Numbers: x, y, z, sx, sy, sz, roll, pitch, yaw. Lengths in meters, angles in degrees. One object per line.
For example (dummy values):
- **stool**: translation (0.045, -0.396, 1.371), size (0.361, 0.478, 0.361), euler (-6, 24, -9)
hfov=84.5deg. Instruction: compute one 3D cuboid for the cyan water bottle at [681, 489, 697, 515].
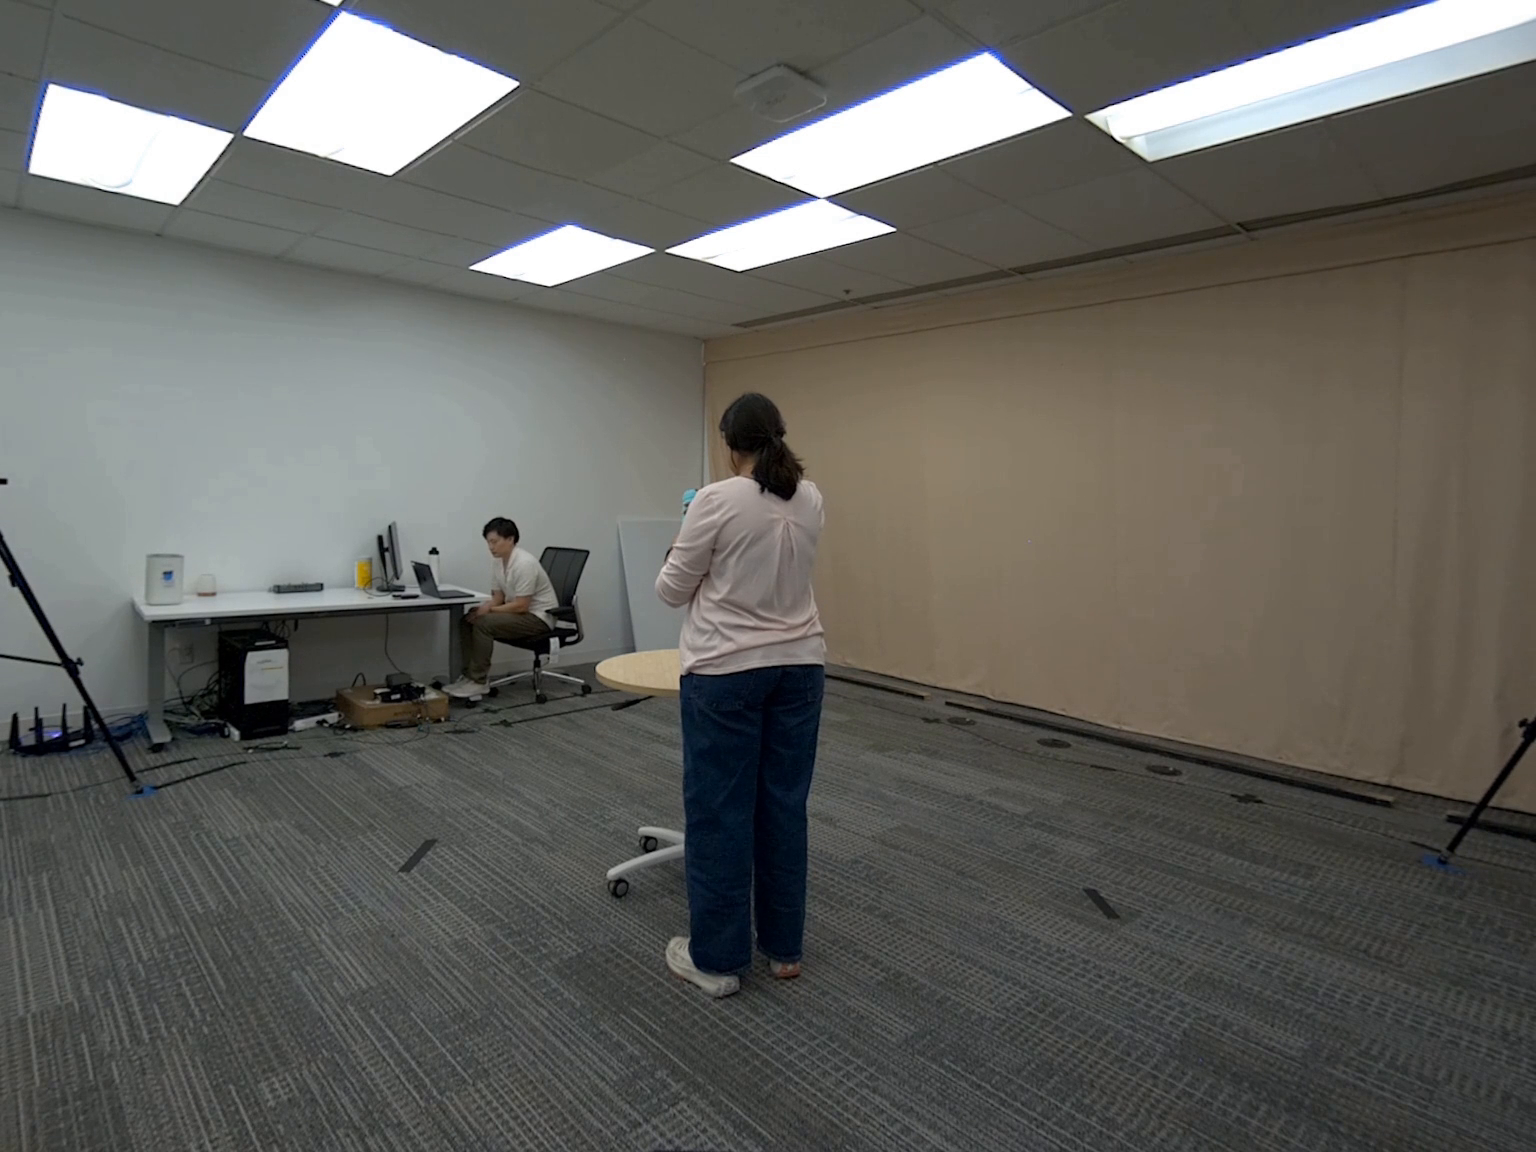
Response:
- **cyan water bottle**: translation (-0.242, -0.134, 2.745), size (0.092, 0.288, 0.091), euler (1, -23, -1)
